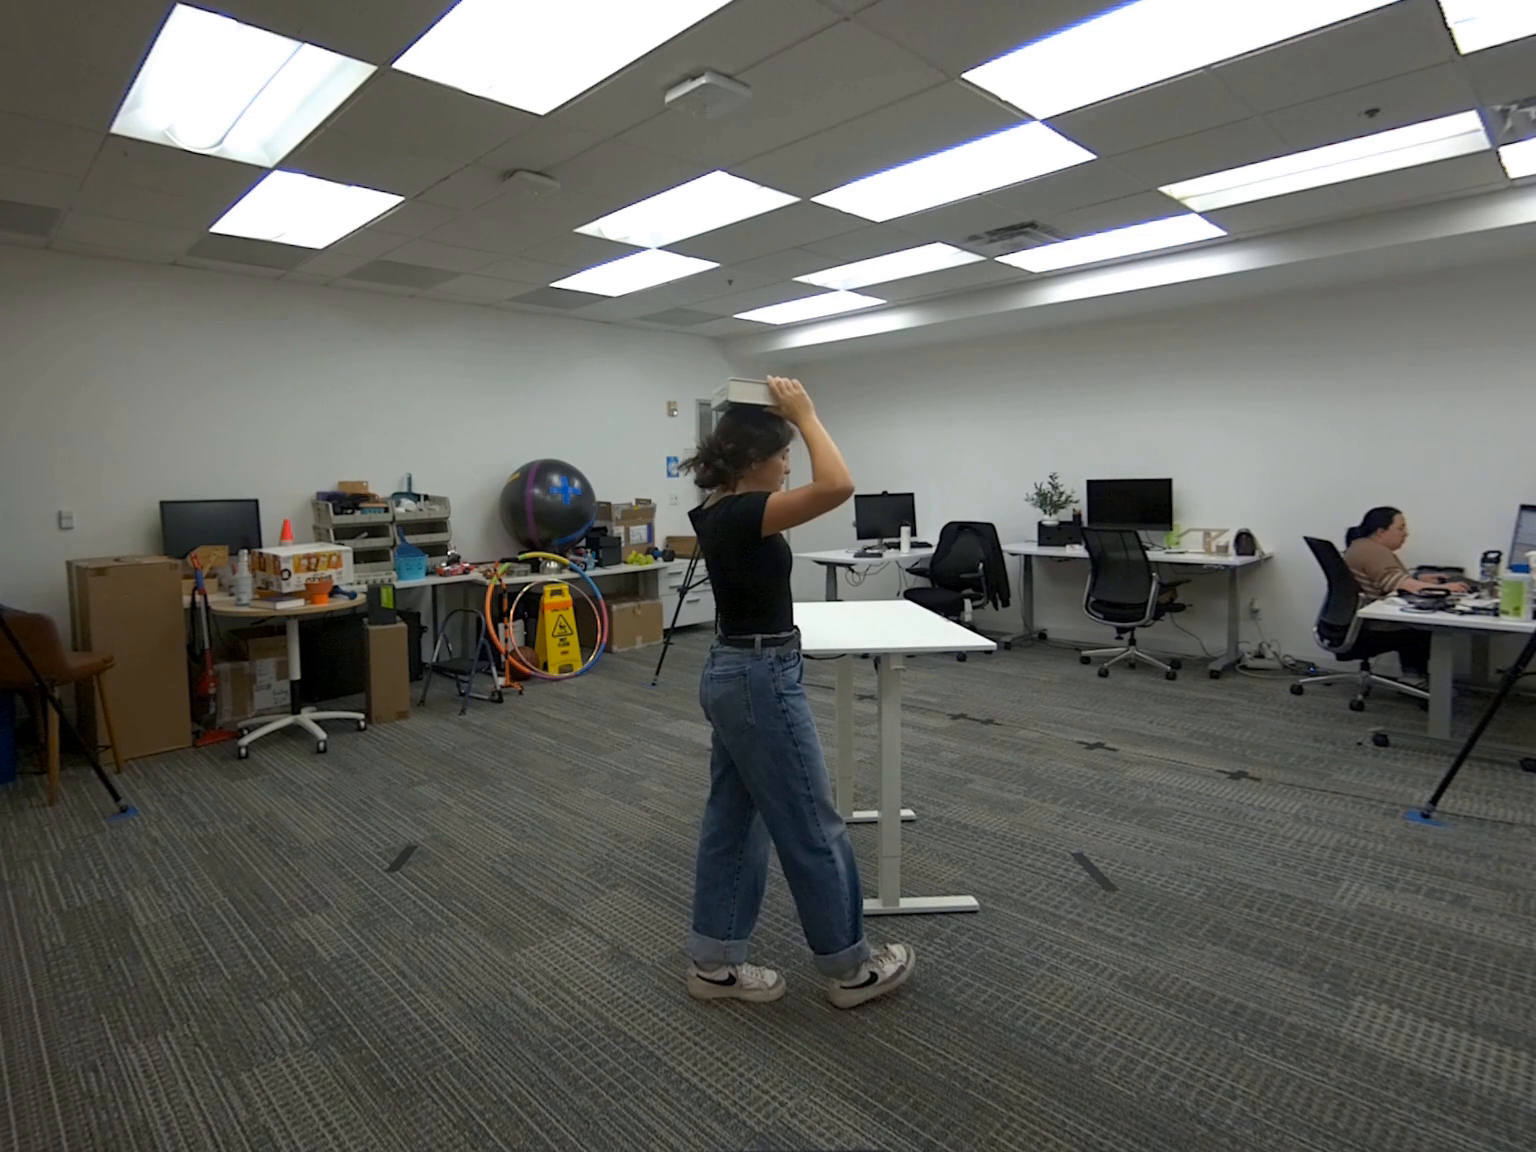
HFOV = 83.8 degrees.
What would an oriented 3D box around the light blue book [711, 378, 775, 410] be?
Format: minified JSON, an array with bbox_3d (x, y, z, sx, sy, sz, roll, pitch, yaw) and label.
[{"bbox_3d":[-0.029,-0.468,2.226,0.190,0.059,0.264,2,5,-10],"label":"light blue book"}]
